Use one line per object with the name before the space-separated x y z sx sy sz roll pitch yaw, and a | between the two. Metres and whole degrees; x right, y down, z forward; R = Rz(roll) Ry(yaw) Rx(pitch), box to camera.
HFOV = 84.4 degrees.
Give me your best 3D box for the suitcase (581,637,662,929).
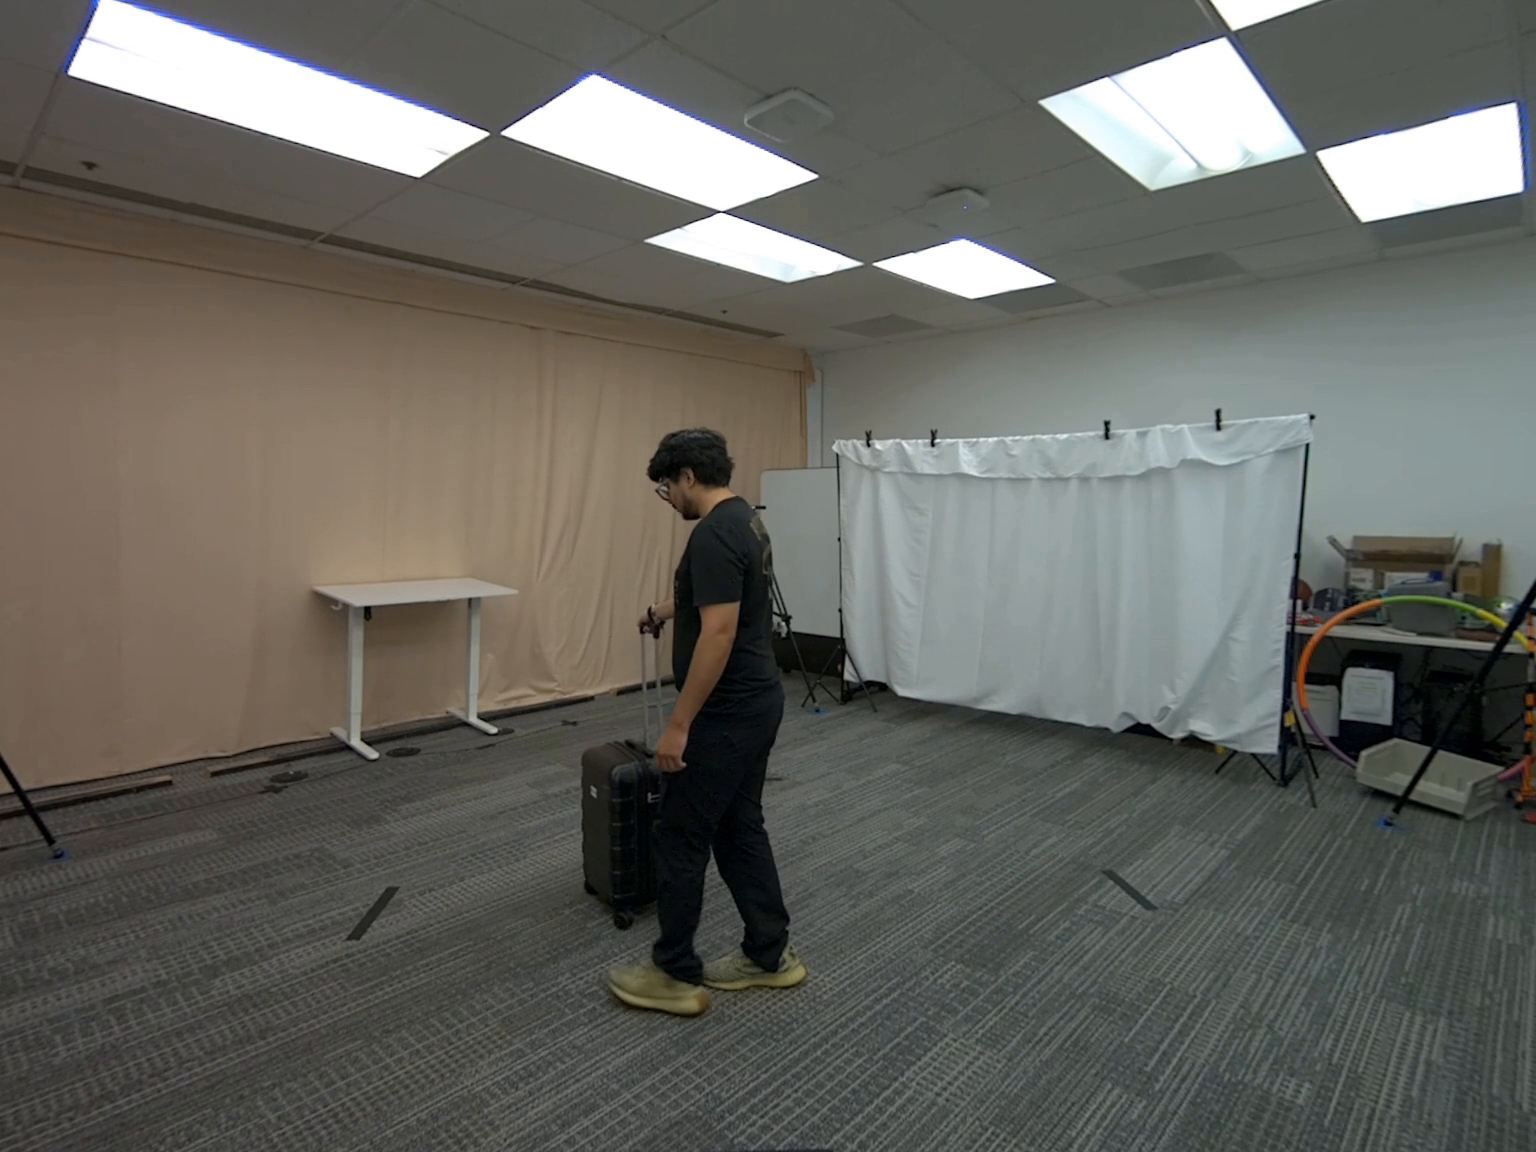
suitcase | -0.502 0.675 2.951 0.251 0.977 0.394 -5 2 -28
